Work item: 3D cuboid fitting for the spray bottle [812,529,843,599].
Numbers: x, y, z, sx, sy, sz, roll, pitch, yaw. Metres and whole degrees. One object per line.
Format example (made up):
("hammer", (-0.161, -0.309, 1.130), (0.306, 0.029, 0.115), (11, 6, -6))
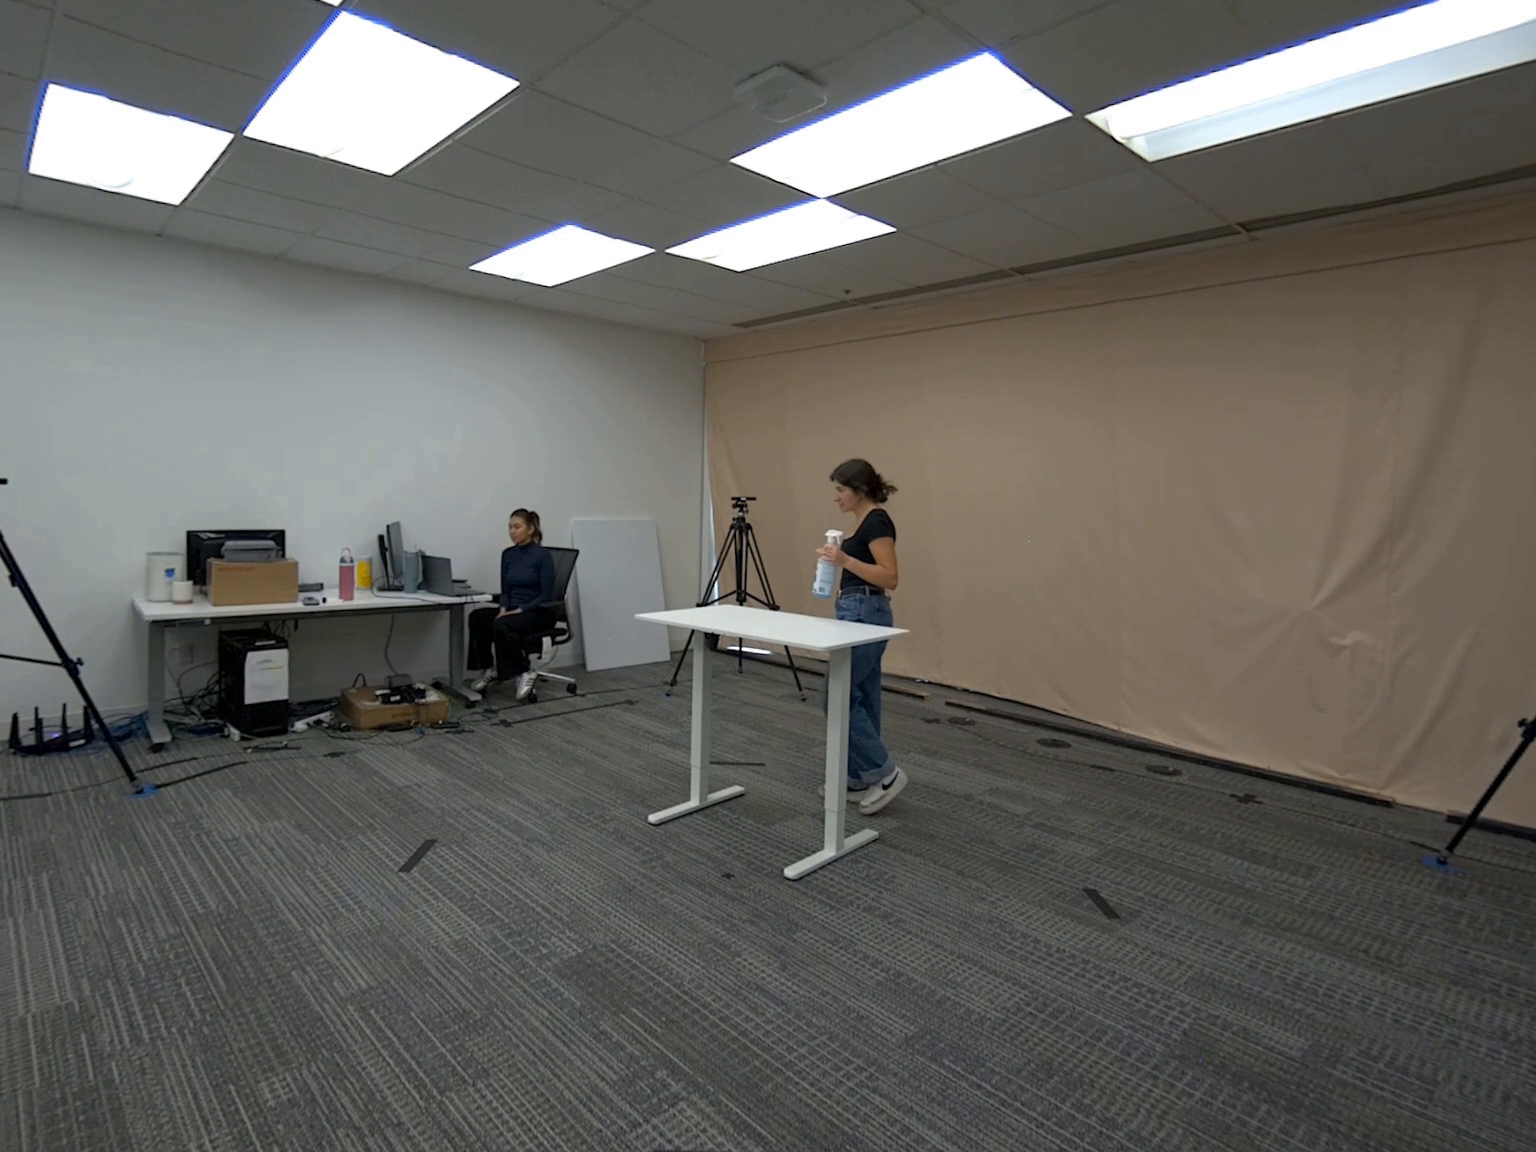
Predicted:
("spray bottle", (0.256, -0.055, 3.679), (0.085, 0.296, 0.092), (8, 9, -20))
